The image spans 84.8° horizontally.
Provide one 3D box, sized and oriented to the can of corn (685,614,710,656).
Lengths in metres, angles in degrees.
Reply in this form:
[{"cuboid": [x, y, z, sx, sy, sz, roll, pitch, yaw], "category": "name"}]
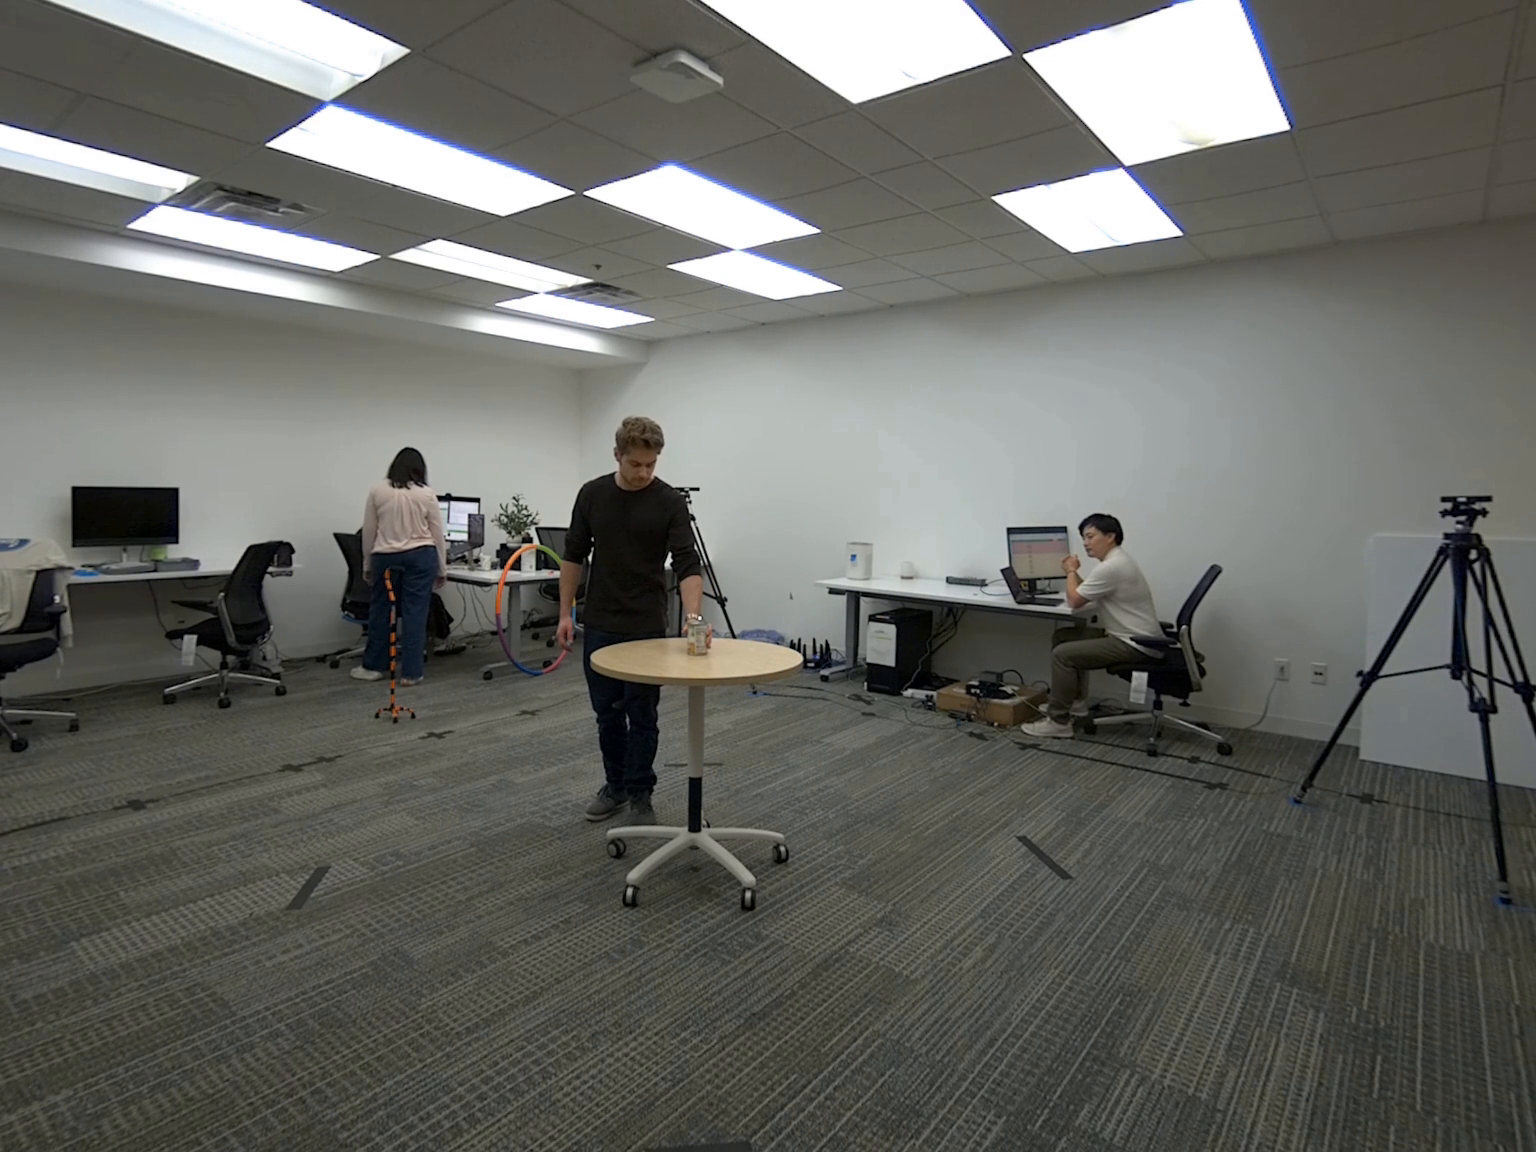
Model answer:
[{"cuboid": [-0.271, 0.225, 3.108, 0.074, 0.111, 0.074, 1, 0, -2], "category": "can of corn"}]
